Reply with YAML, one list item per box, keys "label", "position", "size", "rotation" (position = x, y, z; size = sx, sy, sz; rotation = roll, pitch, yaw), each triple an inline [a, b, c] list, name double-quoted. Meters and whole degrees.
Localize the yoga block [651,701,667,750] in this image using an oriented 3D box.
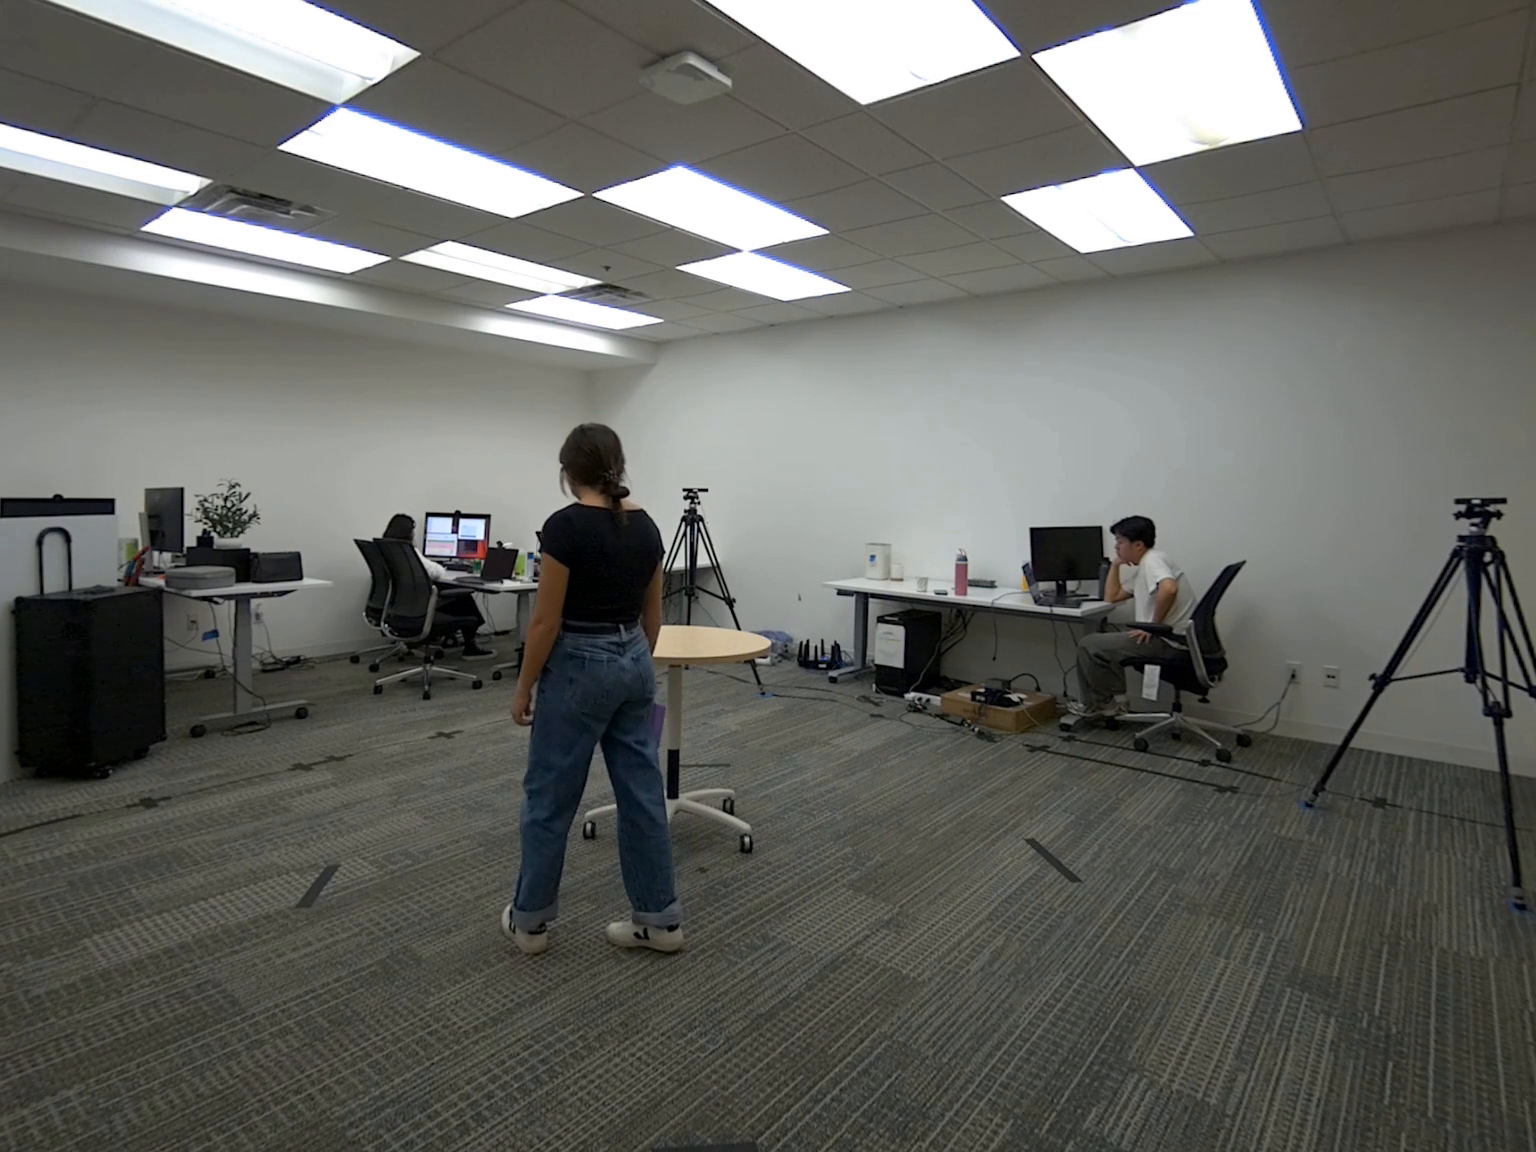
- label: "yoga block"
  position: [-0.451, 0.458, 2.790]
  size: [0.236, 0.150, 0.073]
  rotation: [3, -15, 30]
